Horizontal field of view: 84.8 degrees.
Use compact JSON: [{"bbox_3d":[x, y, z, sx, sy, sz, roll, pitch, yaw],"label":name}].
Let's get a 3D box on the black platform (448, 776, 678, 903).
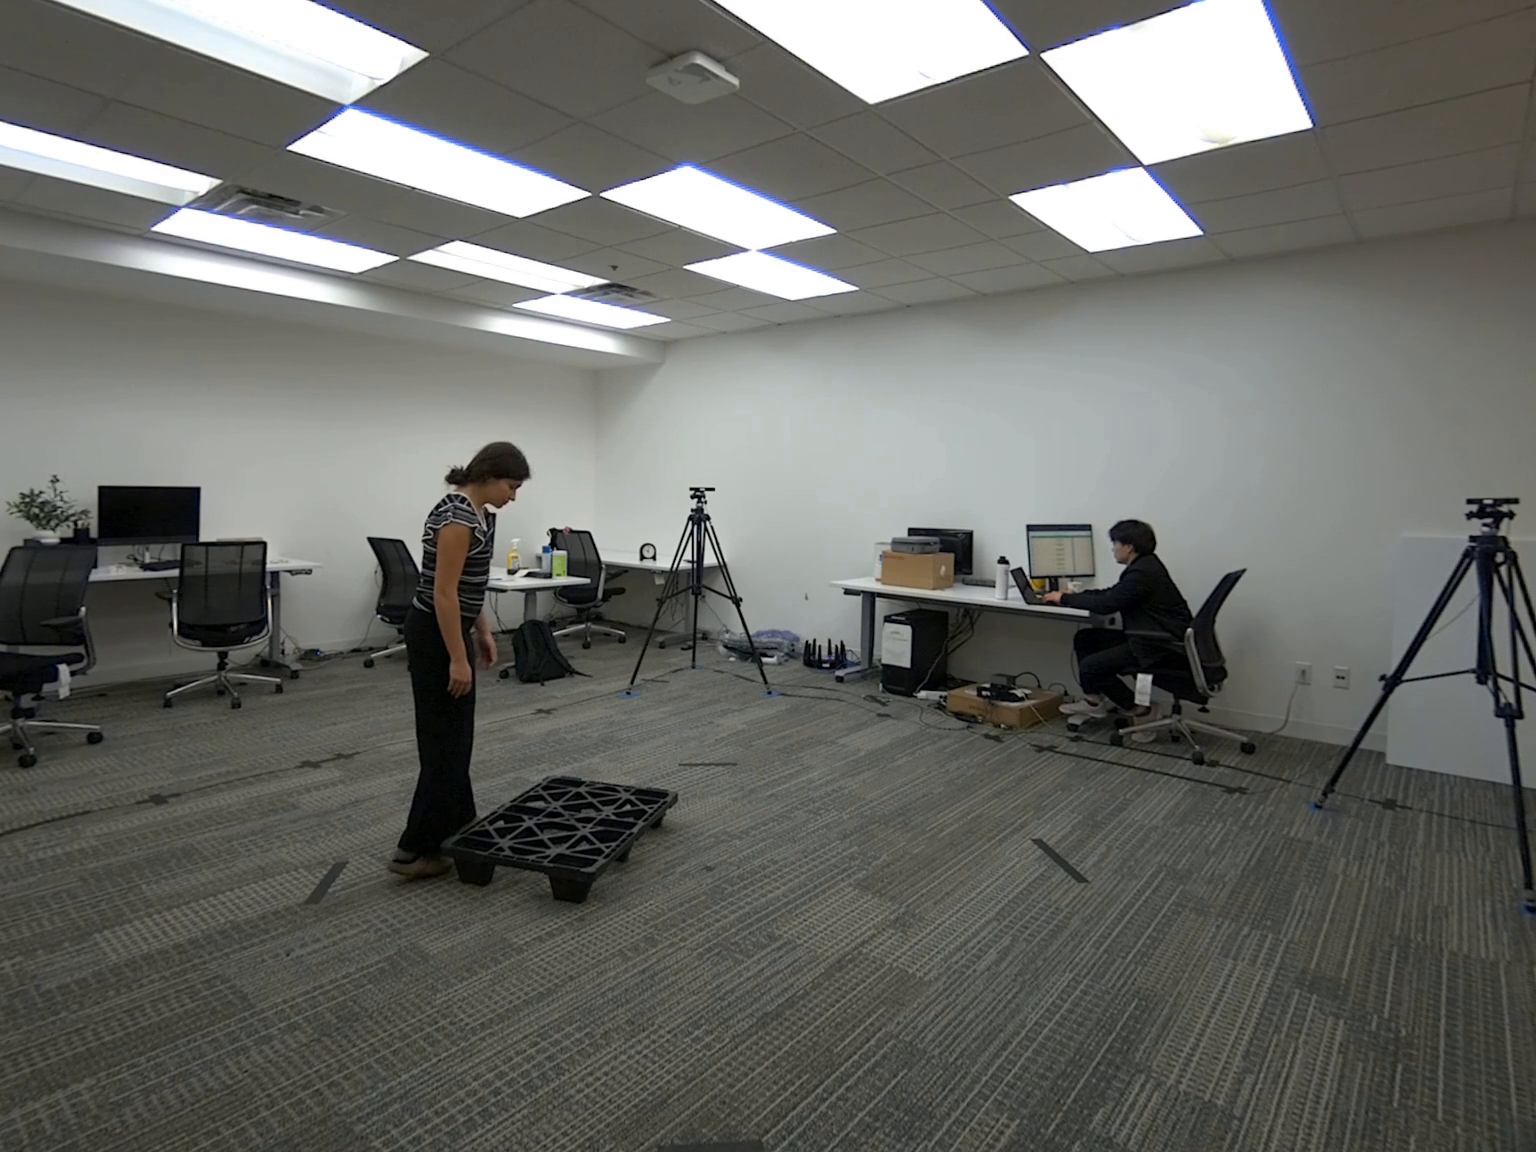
[{"bbox_3d":[-0.761,0.976,3.238,0.616,0.143,0.794,3,6,16],"label":"black platform"}]
